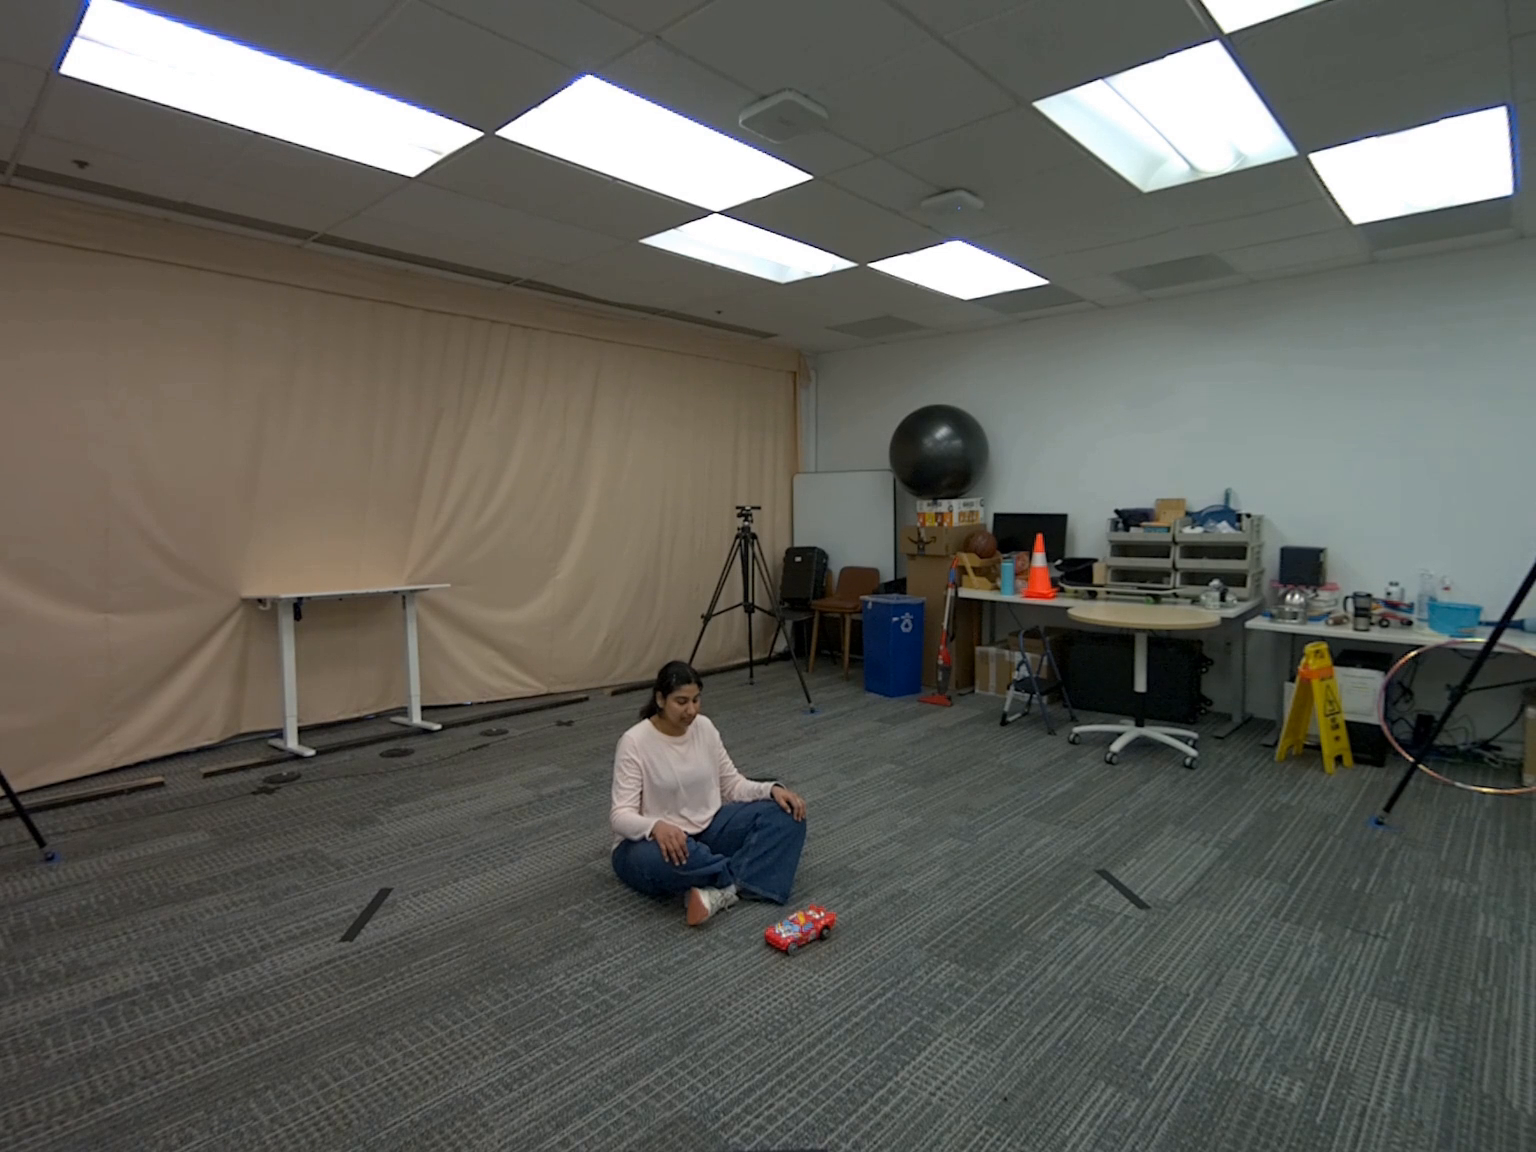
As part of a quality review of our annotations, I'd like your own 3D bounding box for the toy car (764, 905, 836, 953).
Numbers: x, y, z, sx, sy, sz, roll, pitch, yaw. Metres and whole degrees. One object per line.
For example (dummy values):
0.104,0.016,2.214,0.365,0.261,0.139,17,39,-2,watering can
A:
0.111,1.125,2.710,0.248,0.082,0.134,-18,15,-38,toy car
